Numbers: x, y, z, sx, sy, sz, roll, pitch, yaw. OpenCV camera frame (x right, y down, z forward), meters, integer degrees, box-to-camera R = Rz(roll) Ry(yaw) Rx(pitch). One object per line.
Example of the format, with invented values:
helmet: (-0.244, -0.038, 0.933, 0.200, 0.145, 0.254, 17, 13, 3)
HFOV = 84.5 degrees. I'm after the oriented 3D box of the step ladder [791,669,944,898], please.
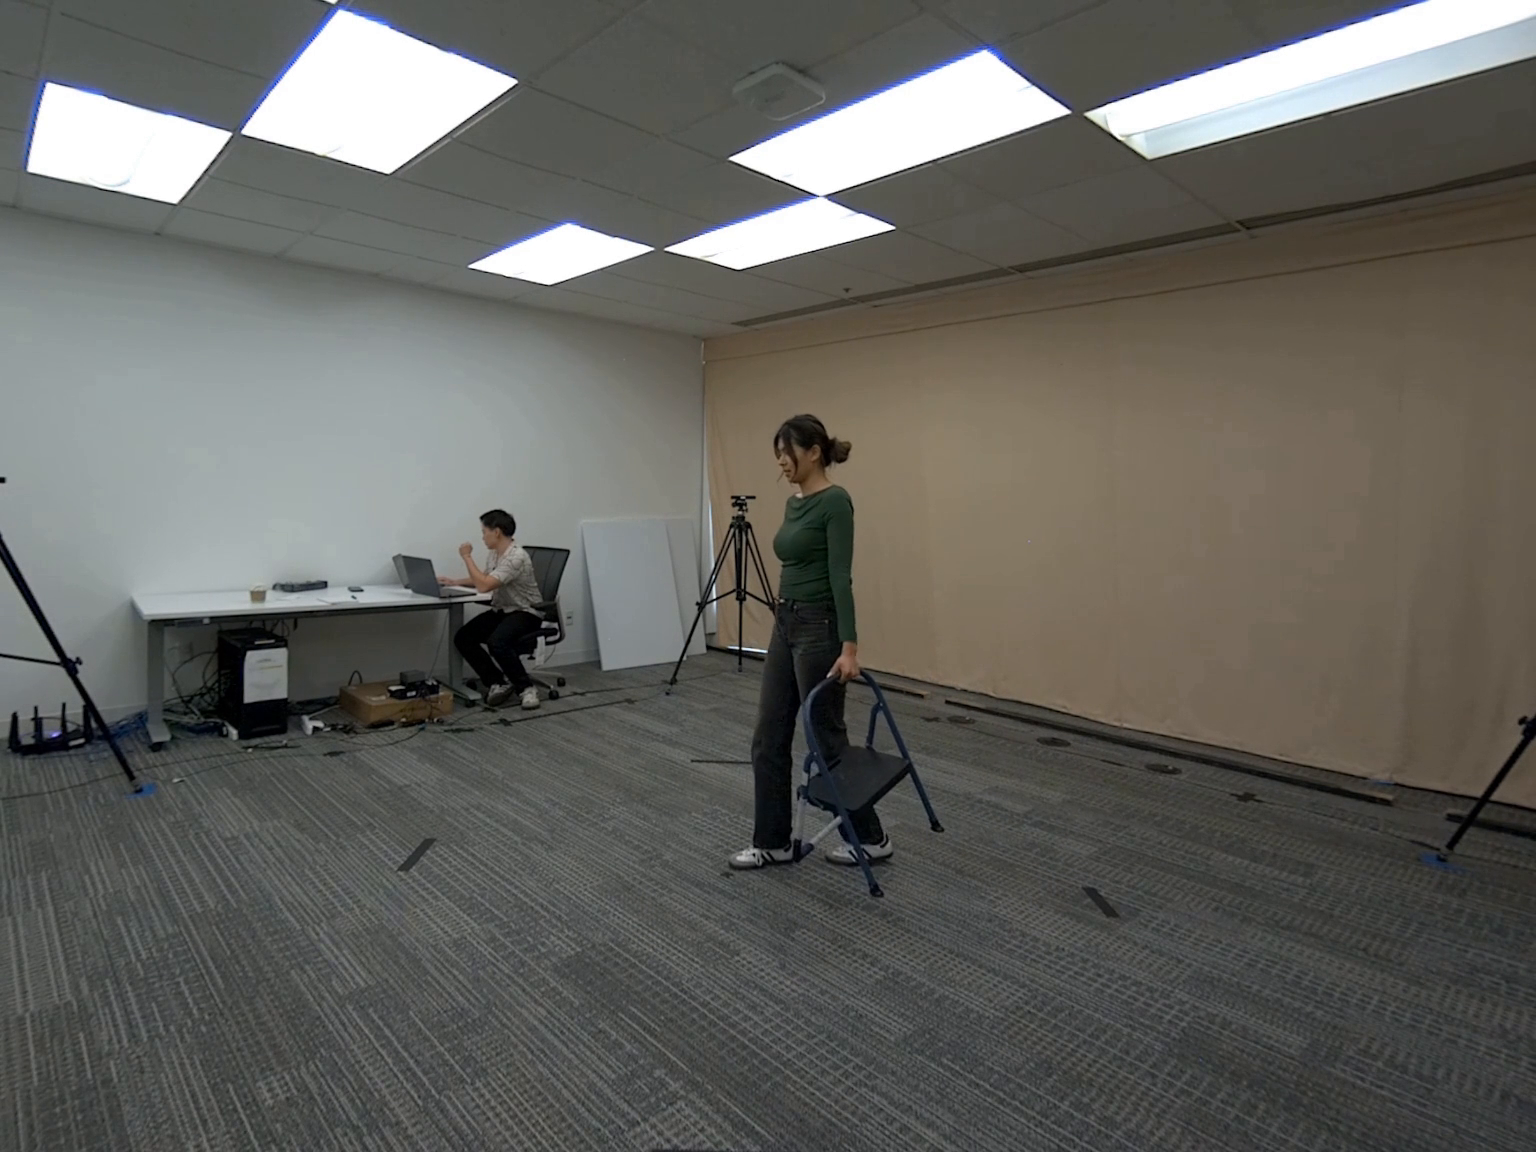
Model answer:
step ladder: (0.298, 0.633, 2.790, 0.358, 0.599, 0.425, 4, 18, 39)
